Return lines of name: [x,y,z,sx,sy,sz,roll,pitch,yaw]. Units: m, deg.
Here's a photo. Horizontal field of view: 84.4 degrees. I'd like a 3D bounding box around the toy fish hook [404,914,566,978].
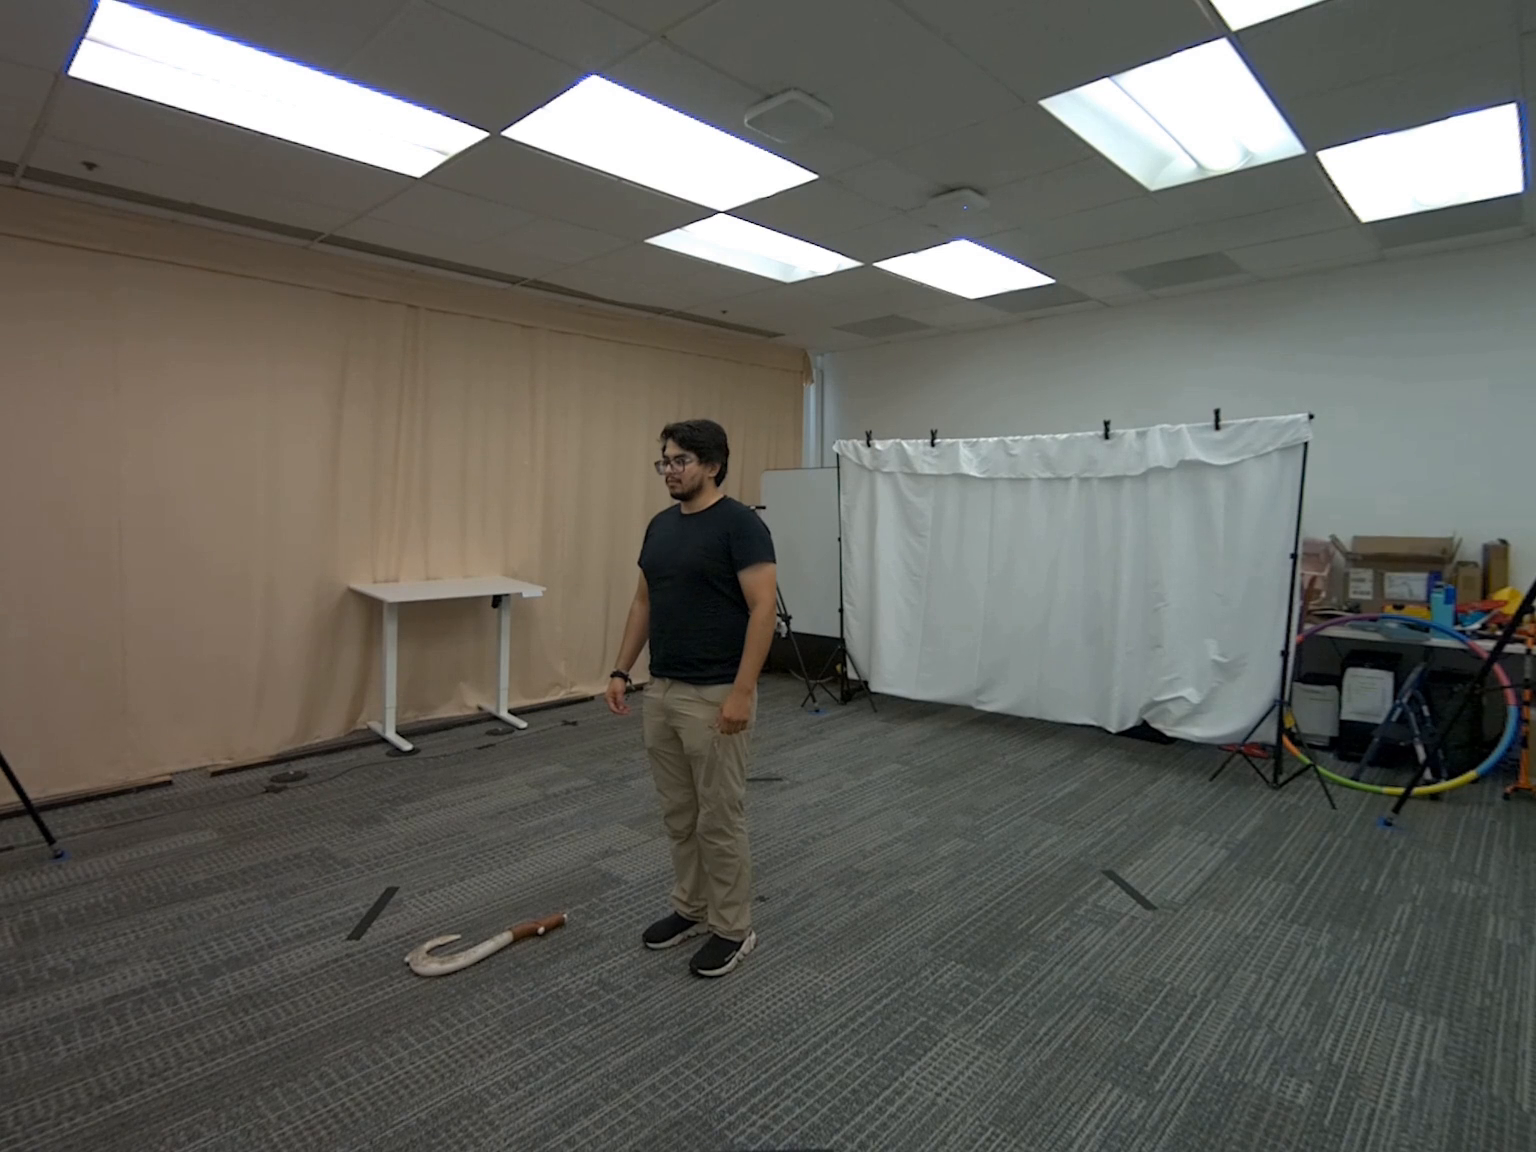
toy fish hook: [-0.894,1.160,2.691,0.491,0.048,0.232,-4,6,-40]
